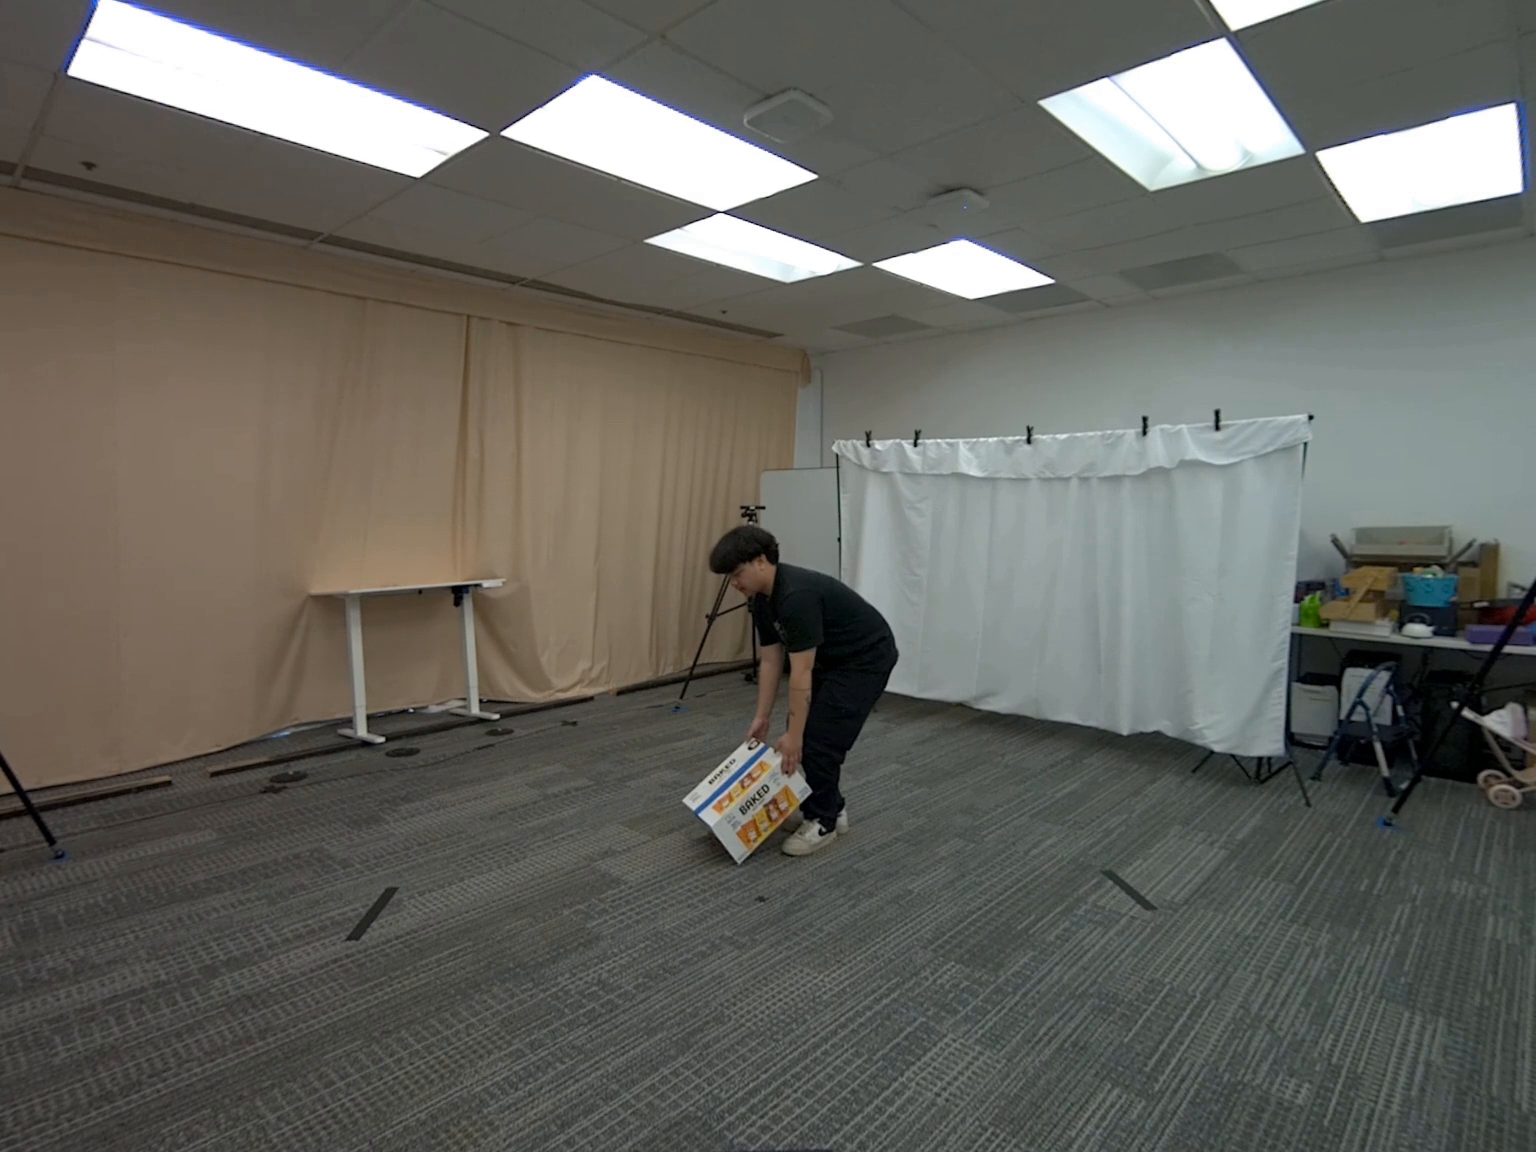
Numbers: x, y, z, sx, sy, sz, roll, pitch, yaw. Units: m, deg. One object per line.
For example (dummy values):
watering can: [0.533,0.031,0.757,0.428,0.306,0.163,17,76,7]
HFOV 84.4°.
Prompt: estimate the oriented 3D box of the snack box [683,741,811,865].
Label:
snack box: [-0.091,0.907,3.443,0.402,0.202,0.348,-40,17,-17]
